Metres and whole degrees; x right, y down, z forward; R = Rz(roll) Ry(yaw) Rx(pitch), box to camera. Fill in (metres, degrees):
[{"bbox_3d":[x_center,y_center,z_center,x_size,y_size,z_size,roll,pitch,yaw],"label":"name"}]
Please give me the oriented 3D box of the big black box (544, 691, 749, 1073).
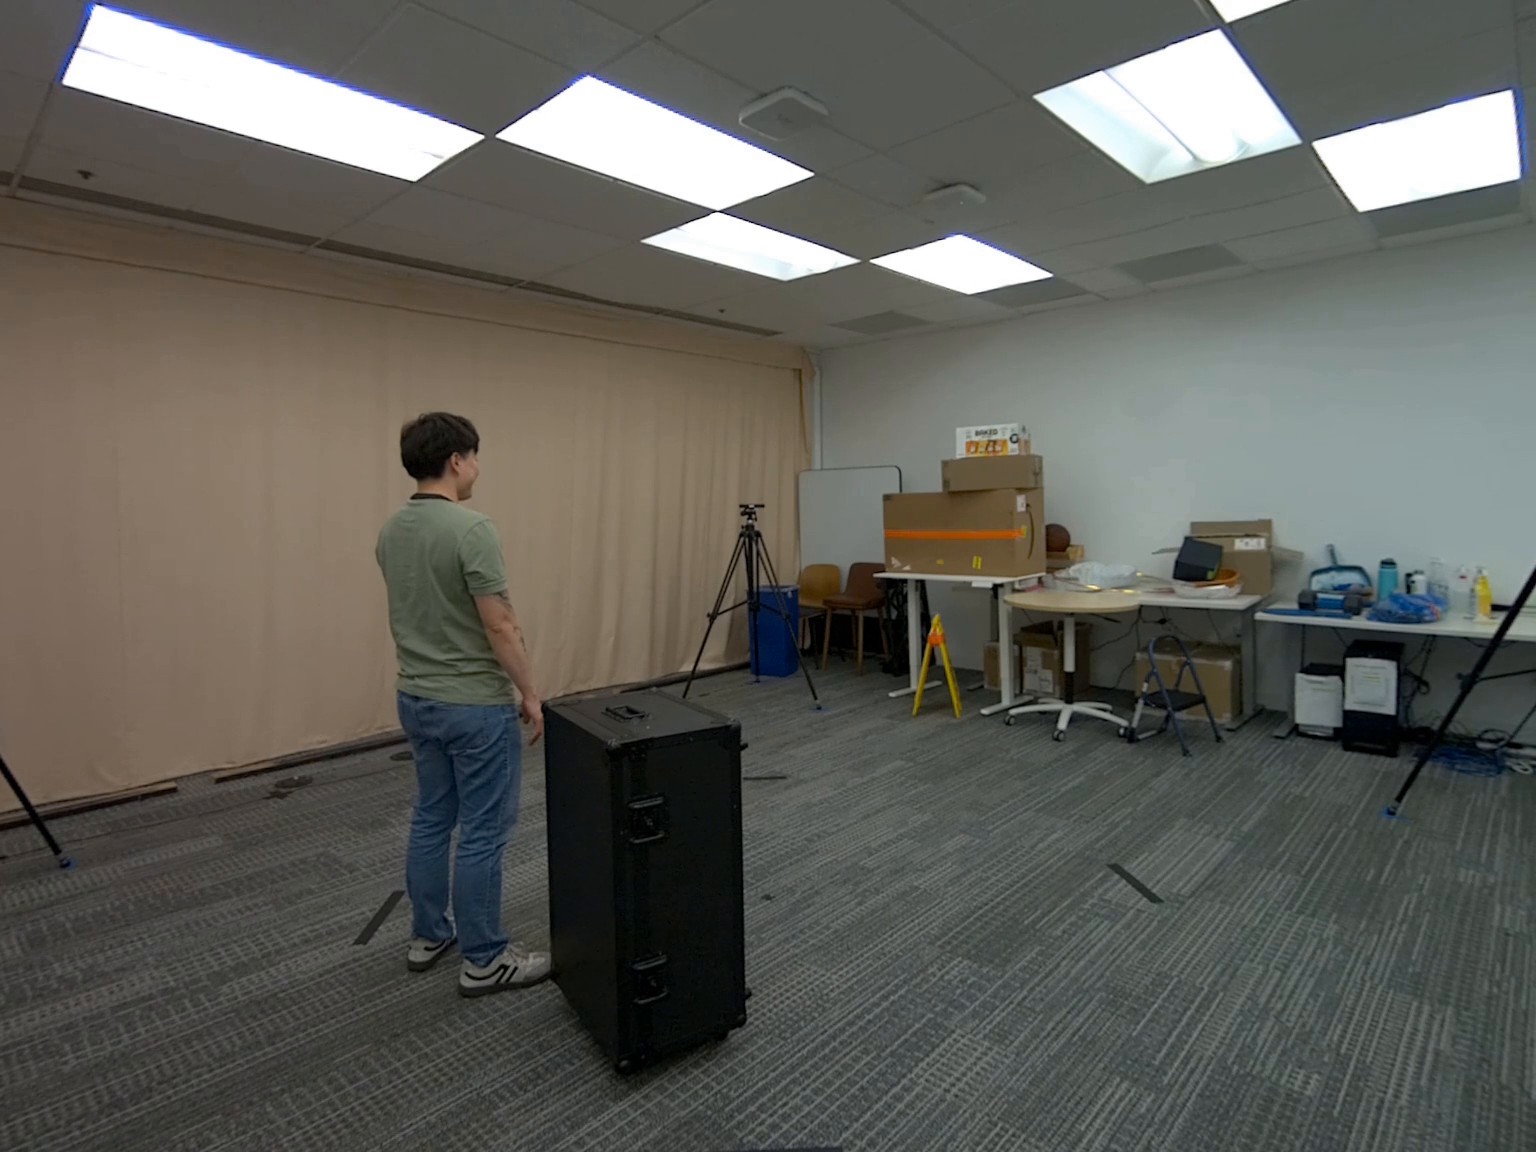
[{"bbox_3d":[-0.326,0.782,2.240,0.385,0.860,0.537,-2,3,-32],"label":"big black box"}]
